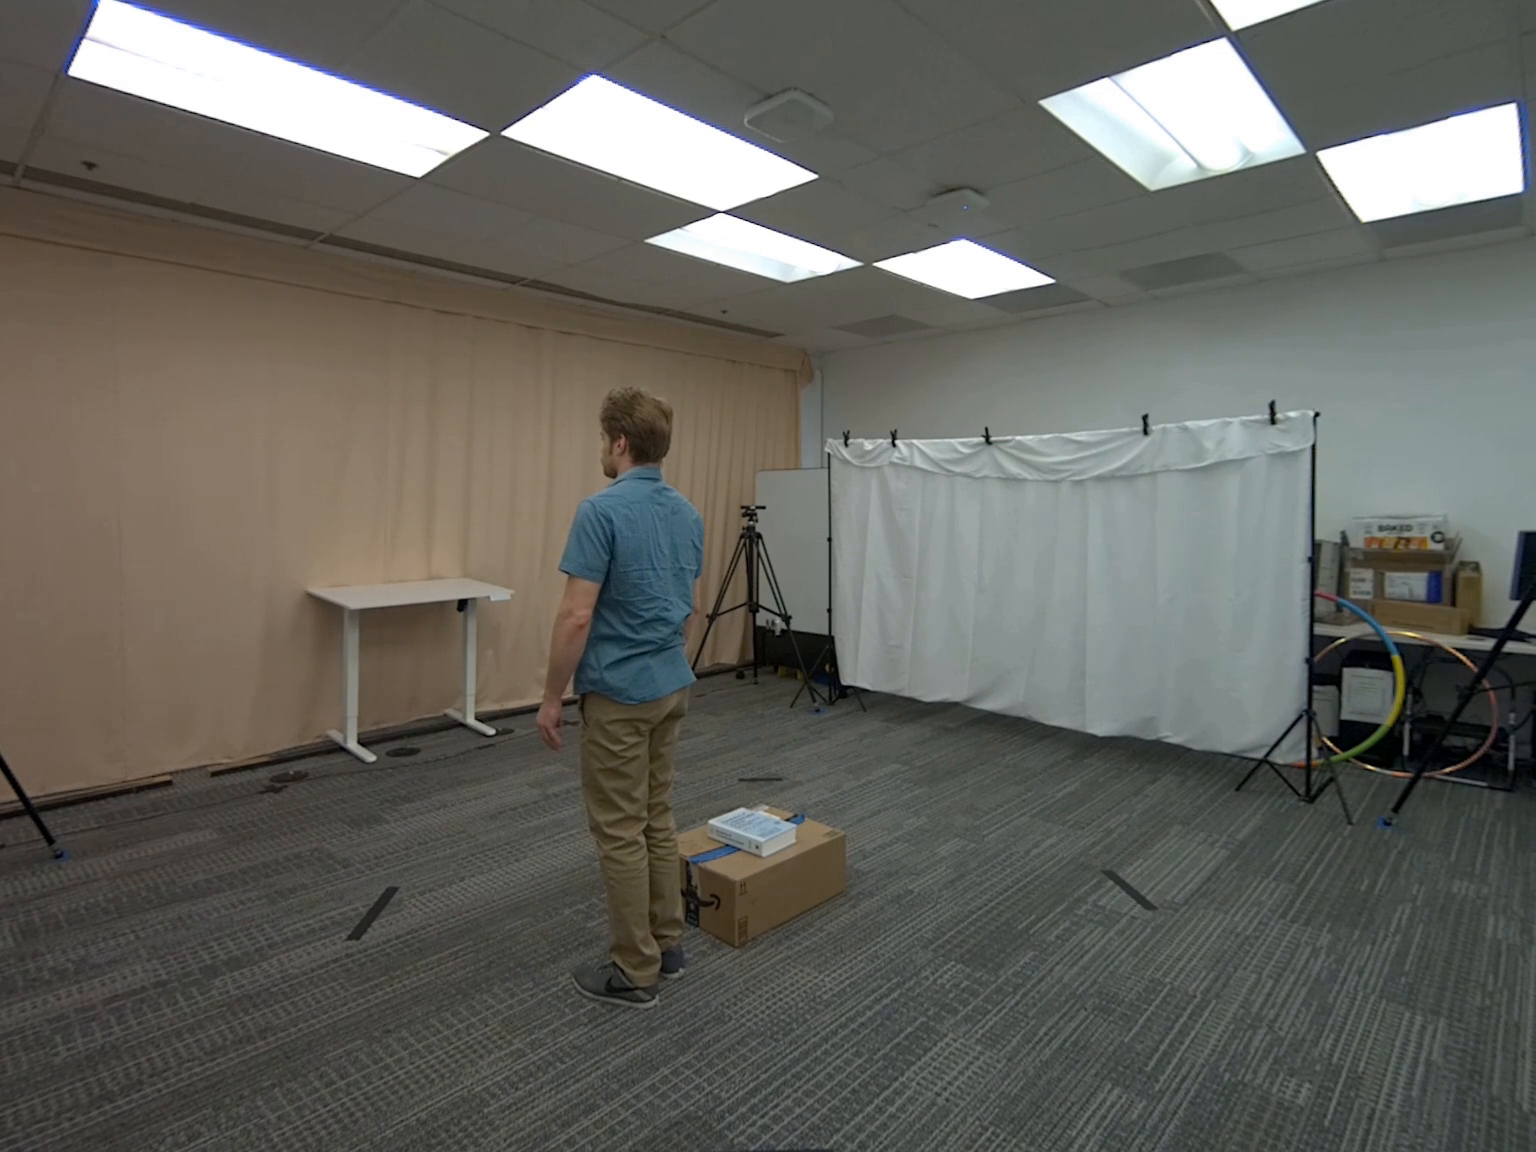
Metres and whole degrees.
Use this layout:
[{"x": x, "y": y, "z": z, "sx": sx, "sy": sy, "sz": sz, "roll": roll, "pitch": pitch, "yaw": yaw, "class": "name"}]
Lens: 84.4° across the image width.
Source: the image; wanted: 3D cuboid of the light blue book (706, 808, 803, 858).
[{"x": -0.055, "y": 0.900, "z": 2.985, "sx": 0.270, "sy": 0.059, "sz": 0.185, "roll": 4, "pitch": 6, "yaw": 41, "class": "light blue book"}]
